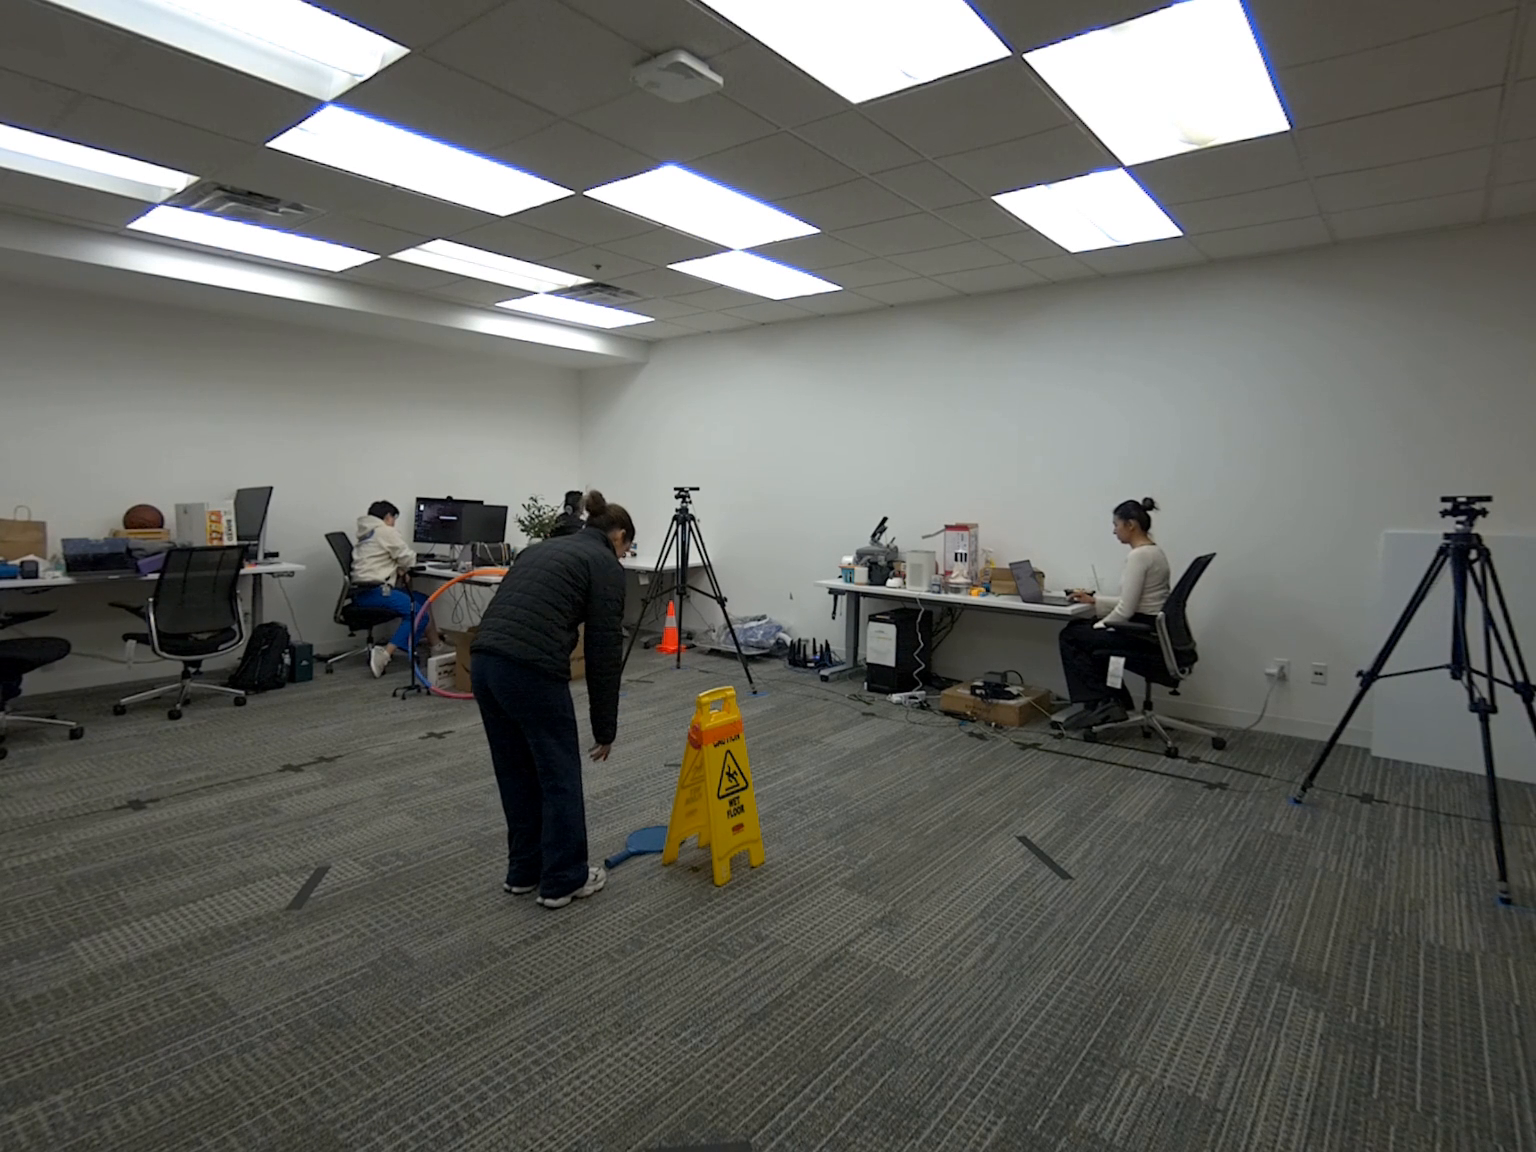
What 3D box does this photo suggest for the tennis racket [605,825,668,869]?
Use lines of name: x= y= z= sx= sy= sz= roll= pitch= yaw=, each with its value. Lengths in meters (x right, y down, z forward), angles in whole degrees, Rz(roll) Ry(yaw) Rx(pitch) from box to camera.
tennis racket: x=-0.463 y=1.032 z=3.294 sx=0.220 sy=0.032 sz=0.422 roll=3 pitch=4 yaw=28
